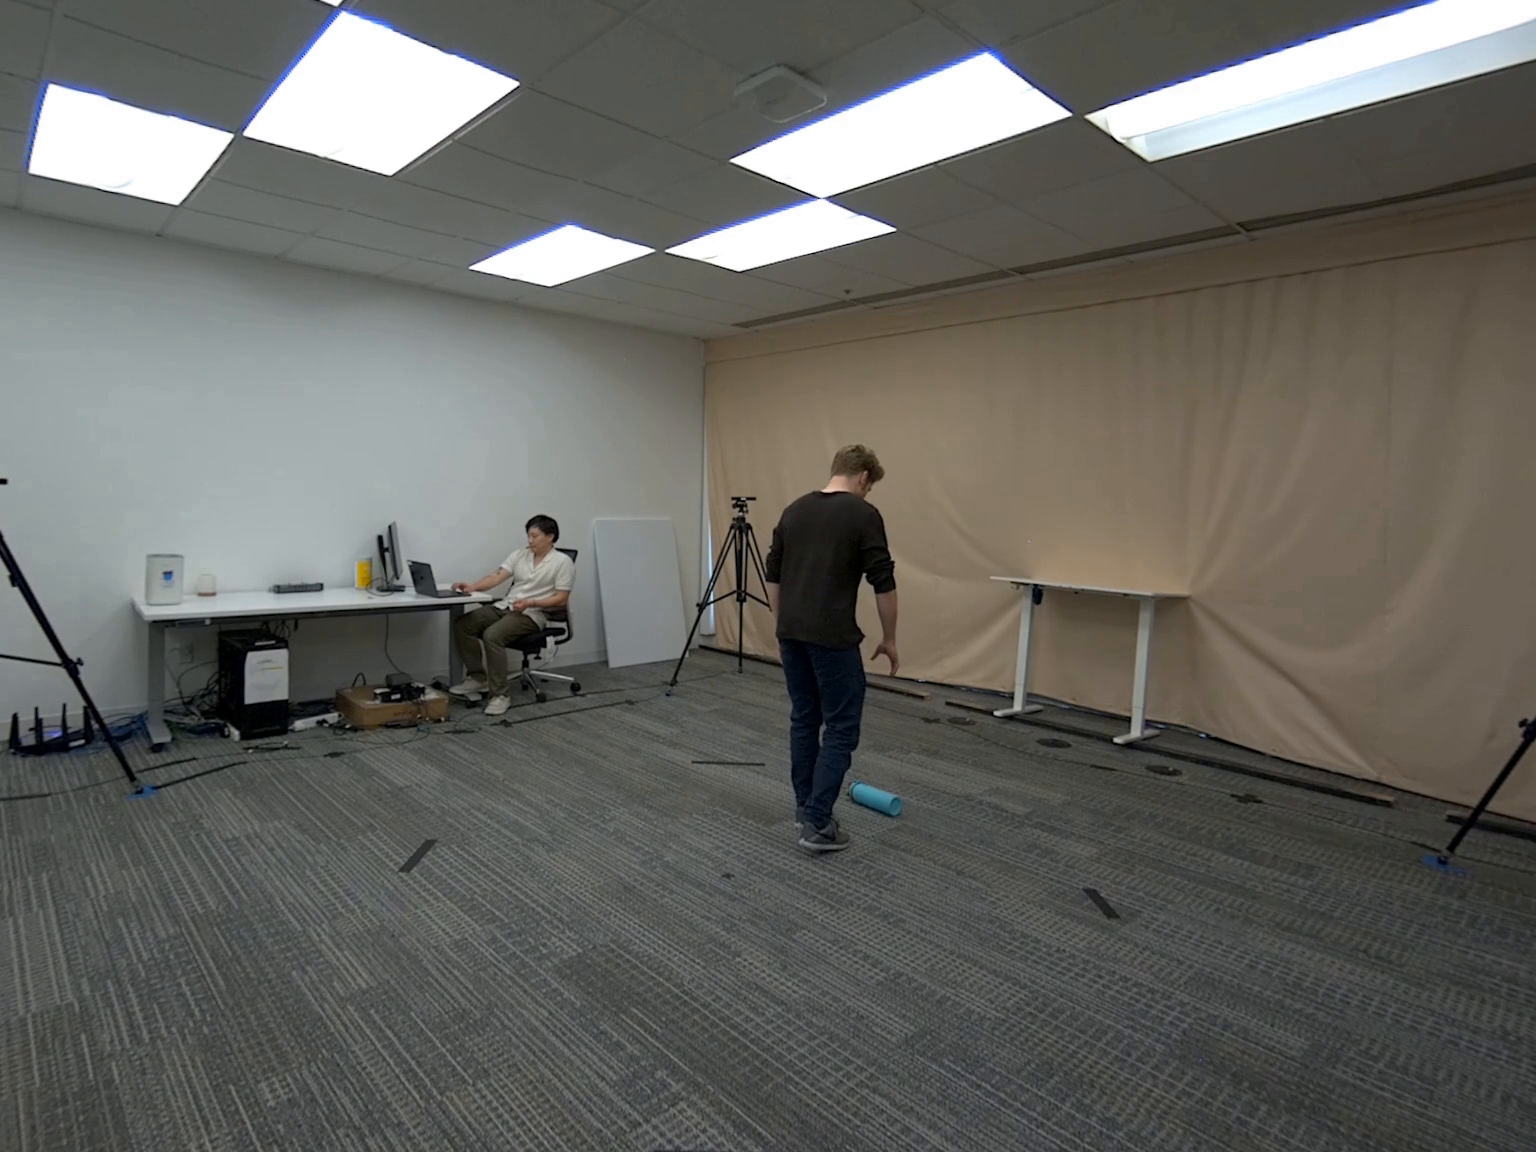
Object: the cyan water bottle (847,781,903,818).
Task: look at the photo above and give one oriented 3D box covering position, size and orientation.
[{"bbox_3d":[0.468,1.011,3.856,0.090,0.092,0.290,-2,6,-38],"label":"cyan water bottle"}]
